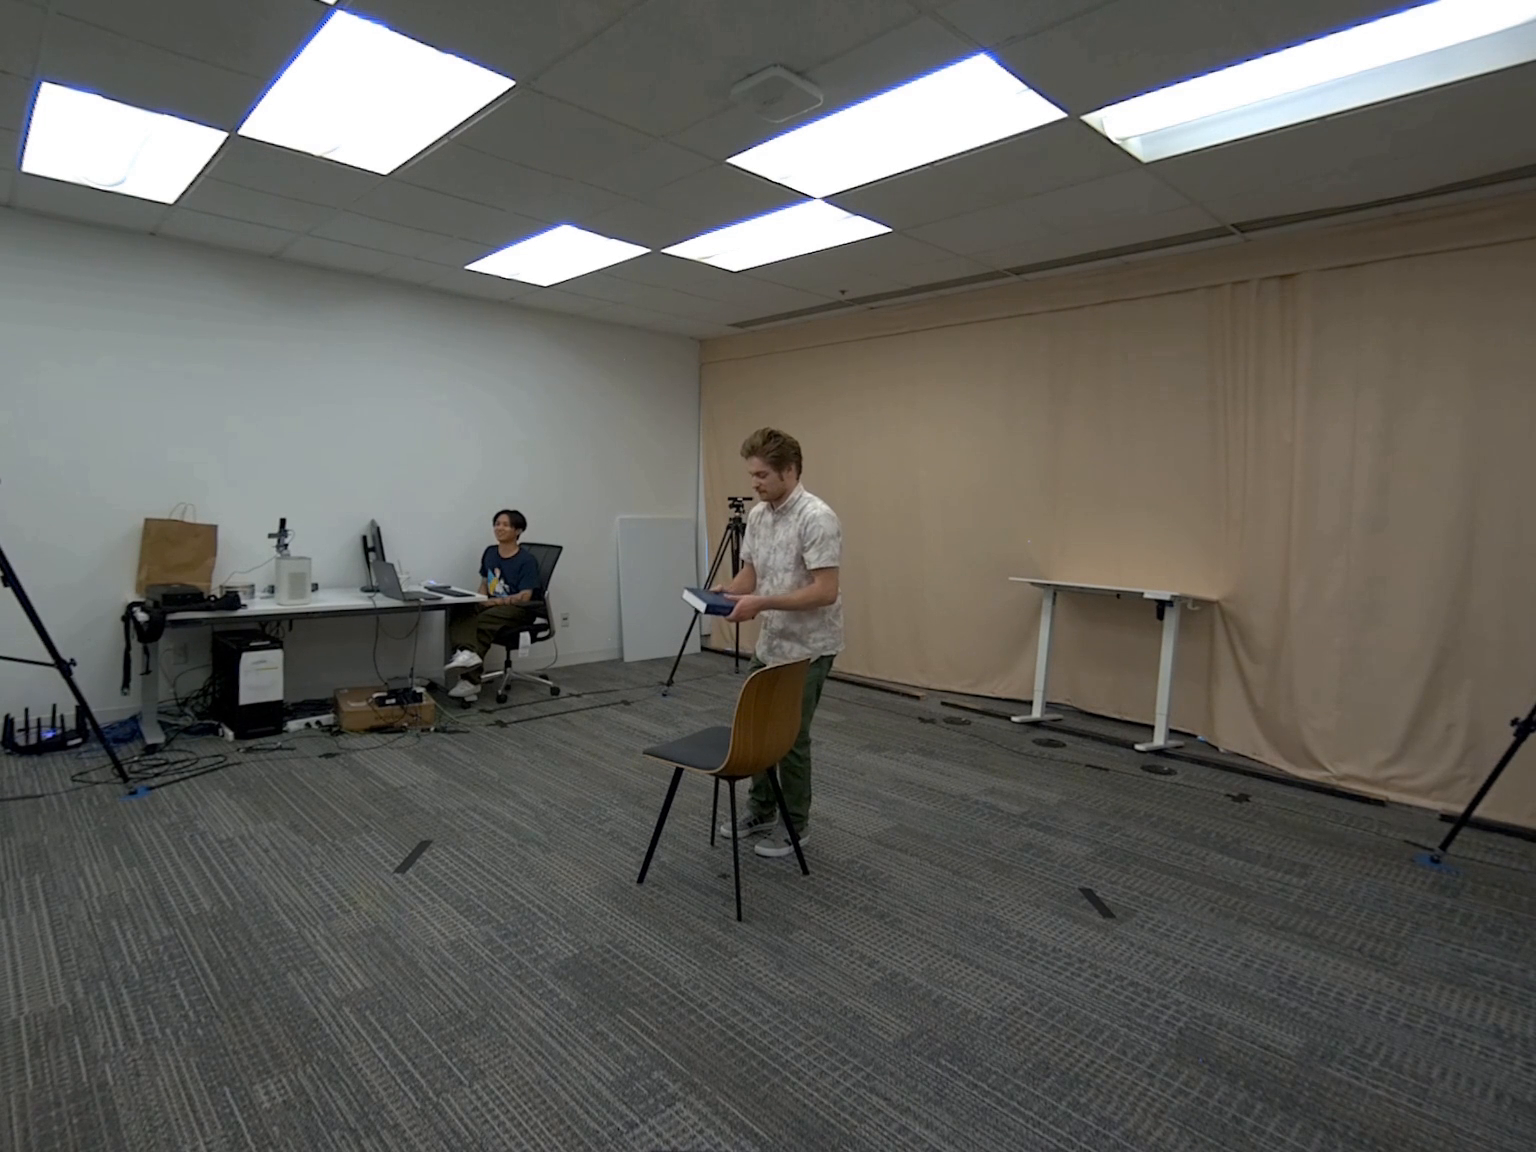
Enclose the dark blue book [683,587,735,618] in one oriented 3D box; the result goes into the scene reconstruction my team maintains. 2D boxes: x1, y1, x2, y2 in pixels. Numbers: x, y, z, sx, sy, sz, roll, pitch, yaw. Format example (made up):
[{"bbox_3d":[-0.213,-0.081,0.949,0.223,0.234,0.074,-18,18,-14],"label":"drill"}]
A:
[{"bbox_3d":[-0.185,0.107,3.158,0.239,0.045,0.168,9,15,-39],"label":"dark blue book"}]
